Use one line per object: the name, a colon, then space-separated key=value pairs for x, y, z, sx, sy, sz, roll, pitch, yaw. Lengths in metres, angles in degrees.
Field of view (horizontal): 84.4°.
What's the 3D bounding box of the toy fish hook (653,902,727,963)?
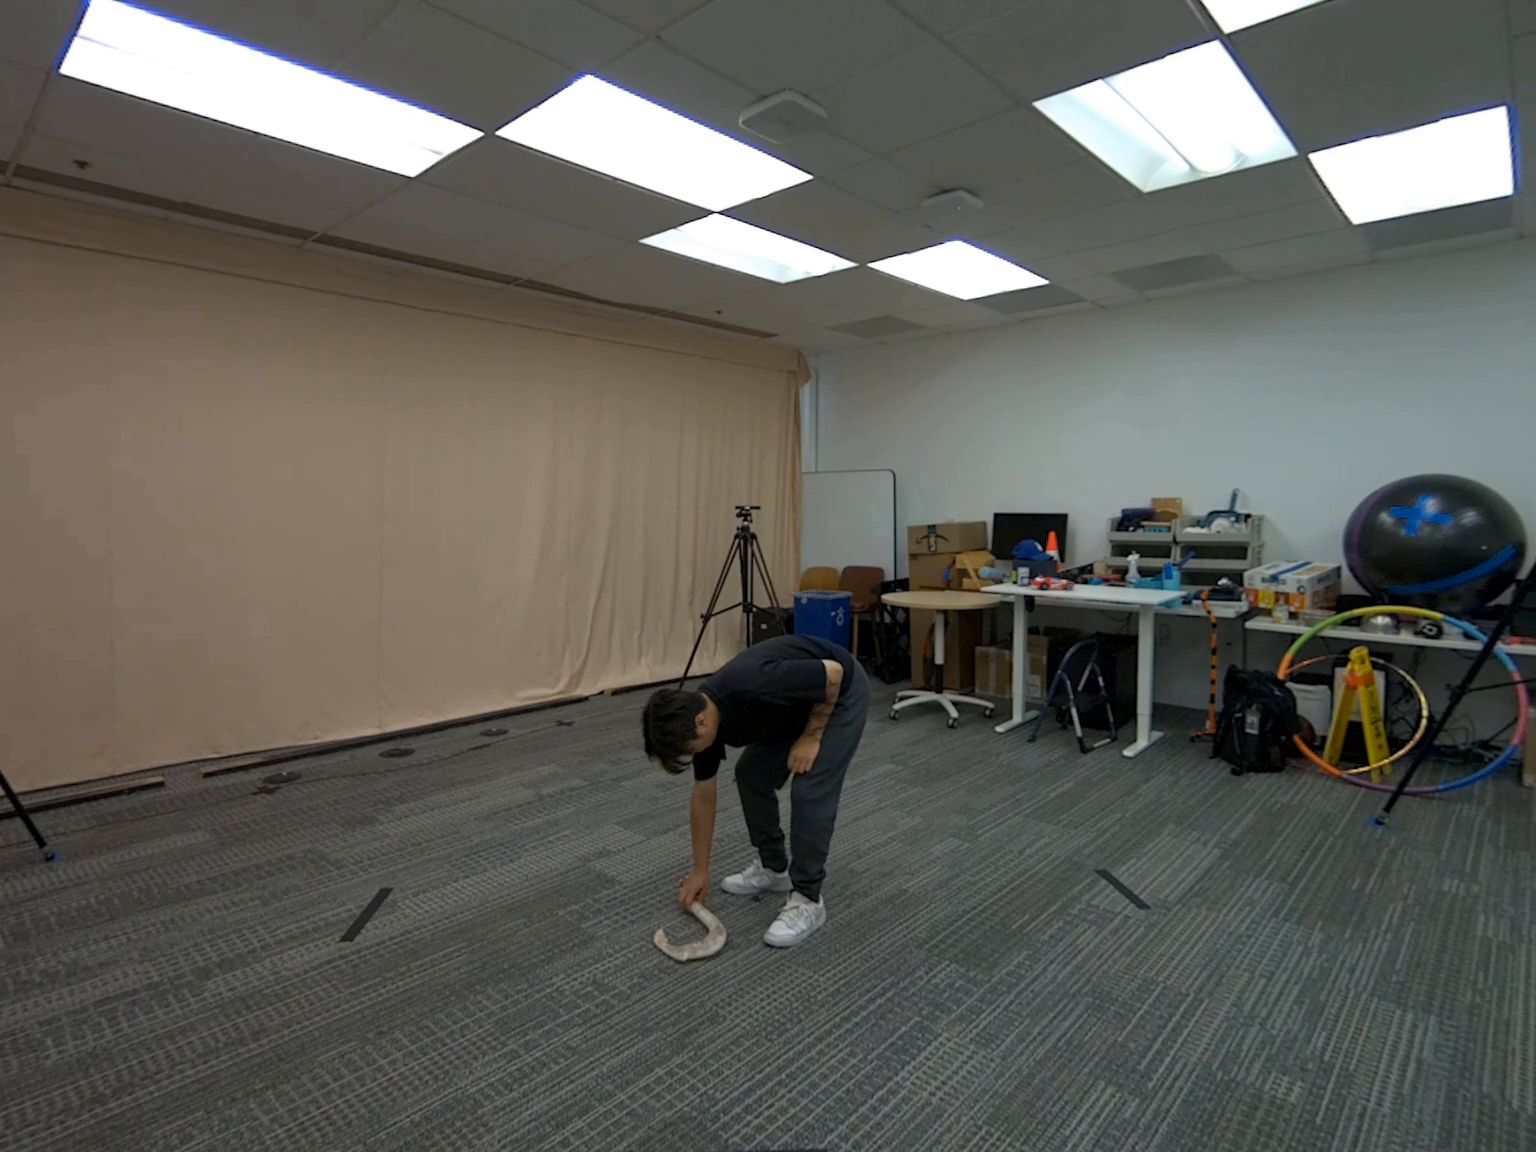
toy fish hook: x=-0.281 y=1.126 z=2.808 sx=0.222 sy=0.048 sz=0.514 roll=-3 pitch=5 yaw=-14
